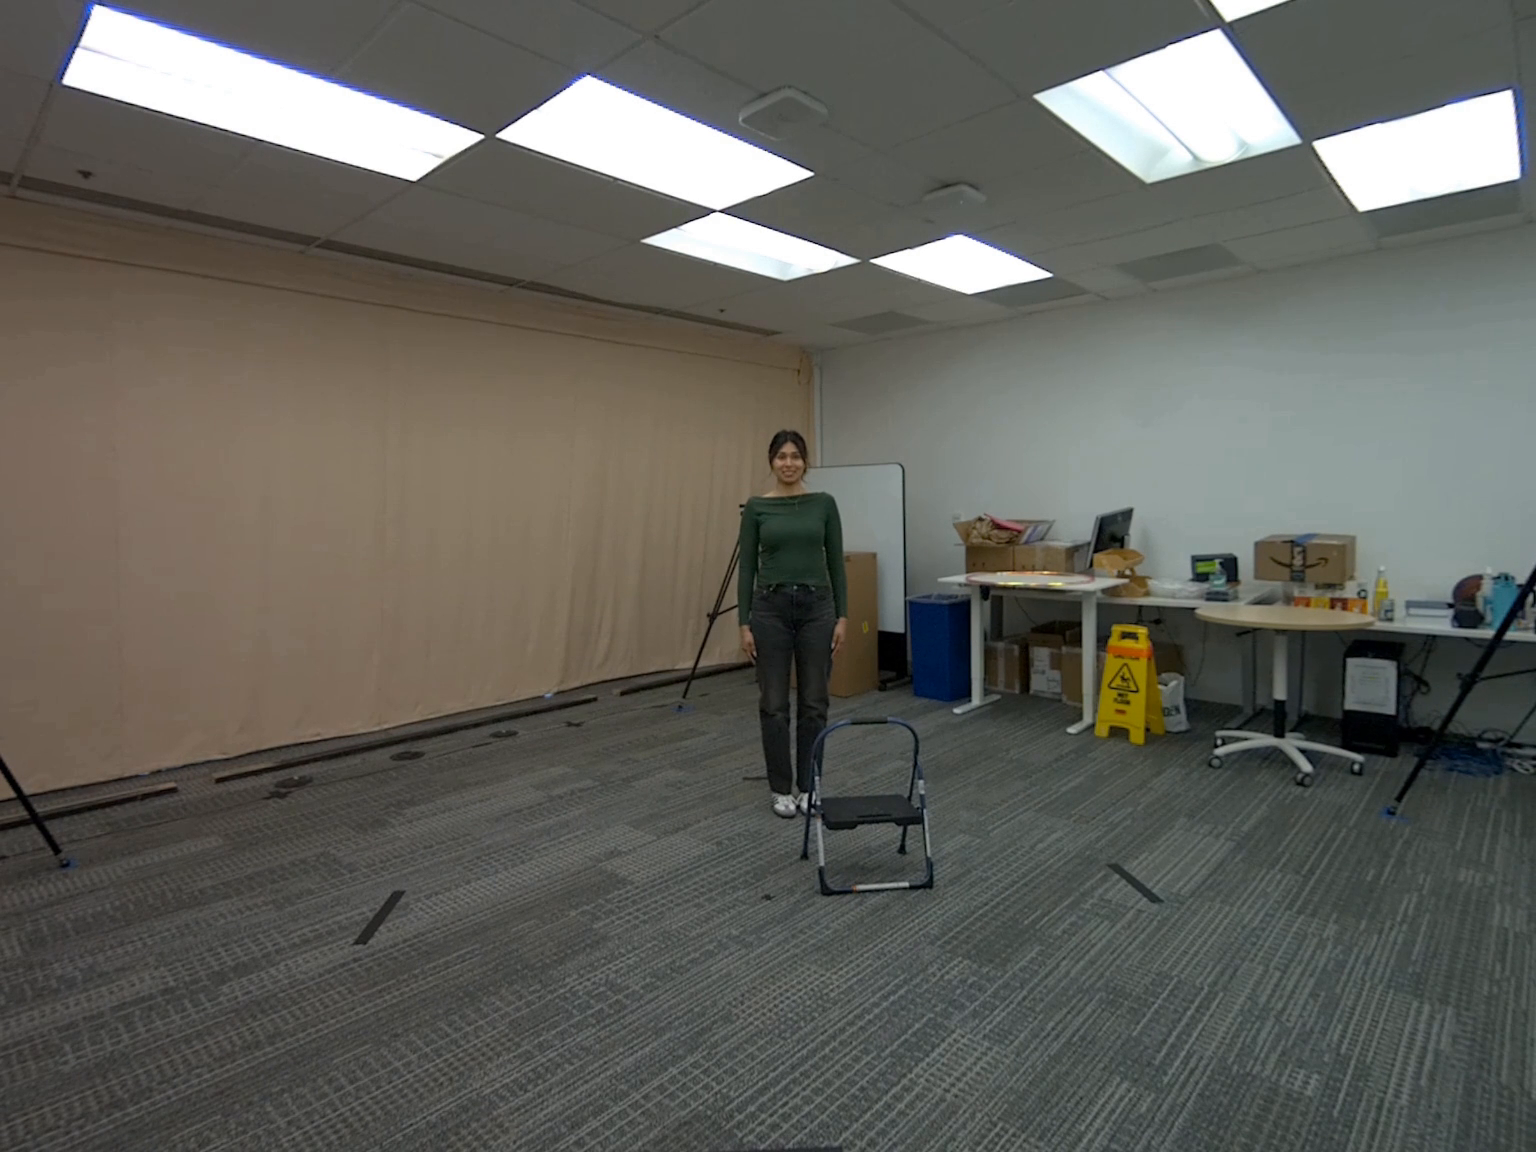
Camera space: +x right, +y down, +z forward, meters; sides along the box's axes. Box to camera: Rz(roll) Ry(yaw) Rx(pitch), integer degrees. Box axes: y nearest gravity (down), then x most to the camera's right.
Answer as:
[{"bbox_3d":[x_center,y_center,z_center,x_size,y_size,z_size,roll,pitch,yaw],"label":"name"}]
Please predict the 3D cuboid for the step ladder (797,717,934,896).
[{"bbox_3d":[0.367,0.821,3.150,0.427,0.605,0.353,-1,4,-9],"label":"step ladder"}]
